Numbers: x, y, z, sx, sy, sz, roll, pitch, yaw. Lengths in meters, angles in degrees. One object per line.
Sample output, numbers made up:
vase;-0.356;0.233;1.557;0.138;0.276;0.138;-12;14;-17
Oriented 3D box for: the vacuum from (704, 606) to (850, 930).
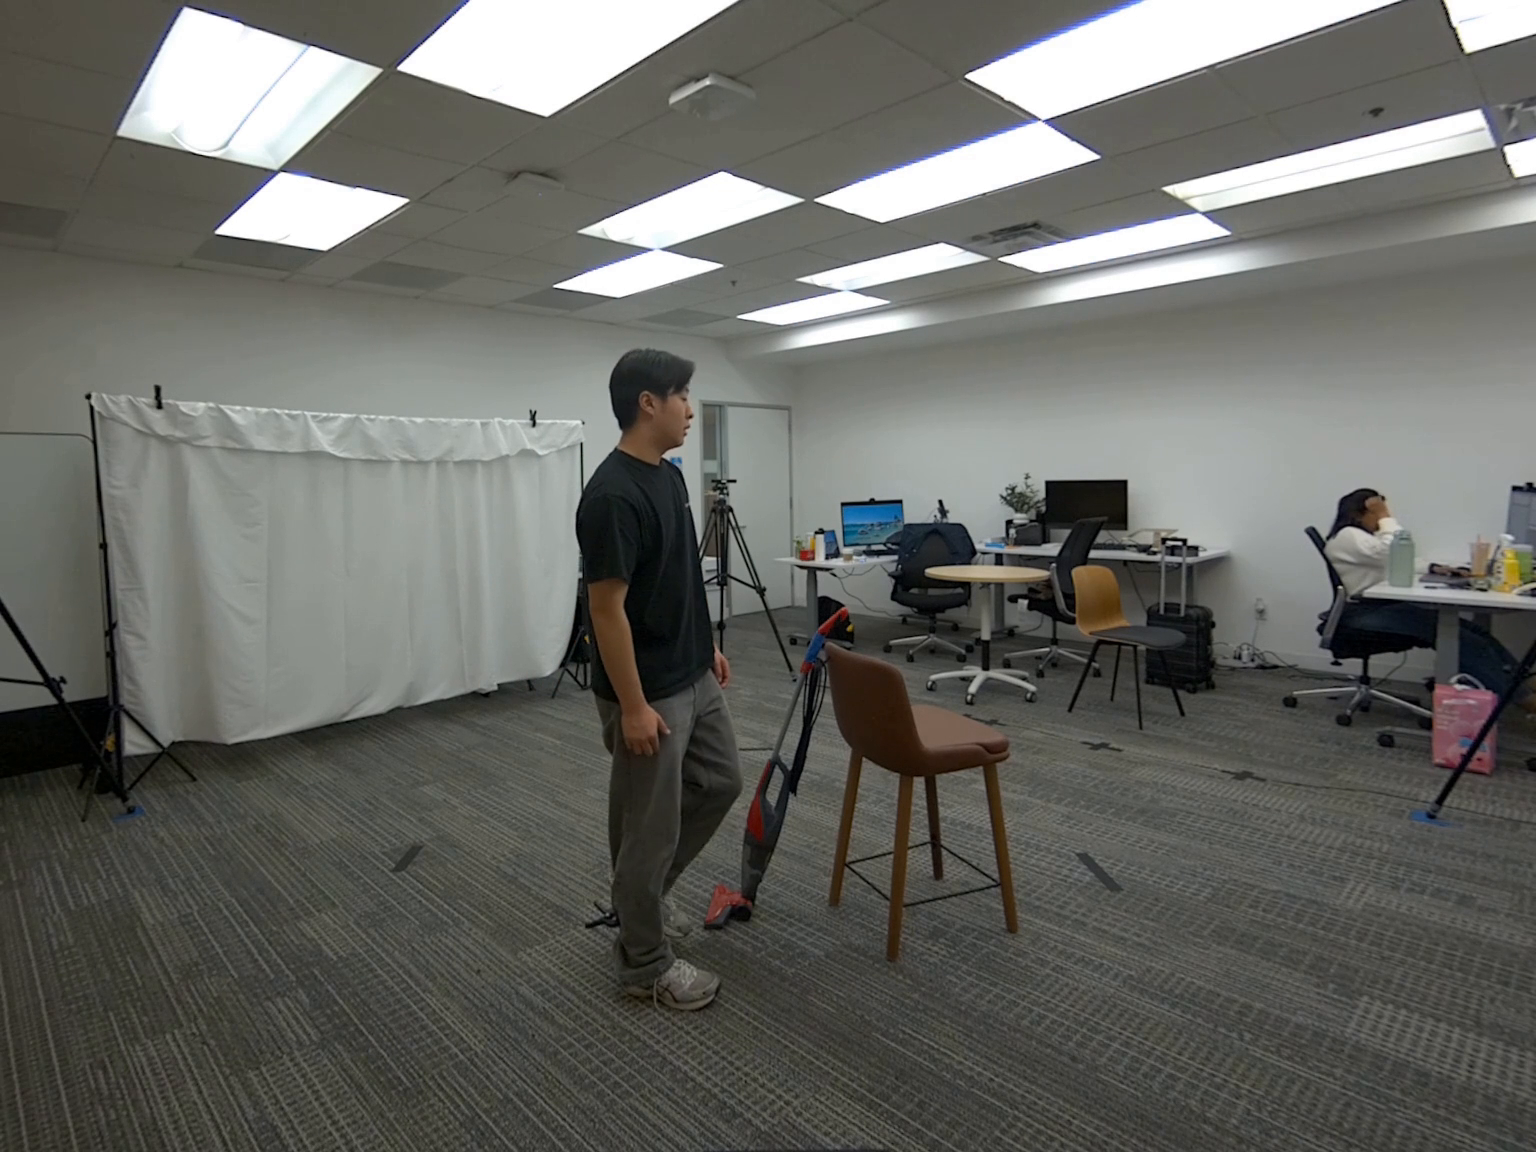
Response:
vacuum;0.065;0.593;2.713;0.144;1.045;0.254;19;7;-3
